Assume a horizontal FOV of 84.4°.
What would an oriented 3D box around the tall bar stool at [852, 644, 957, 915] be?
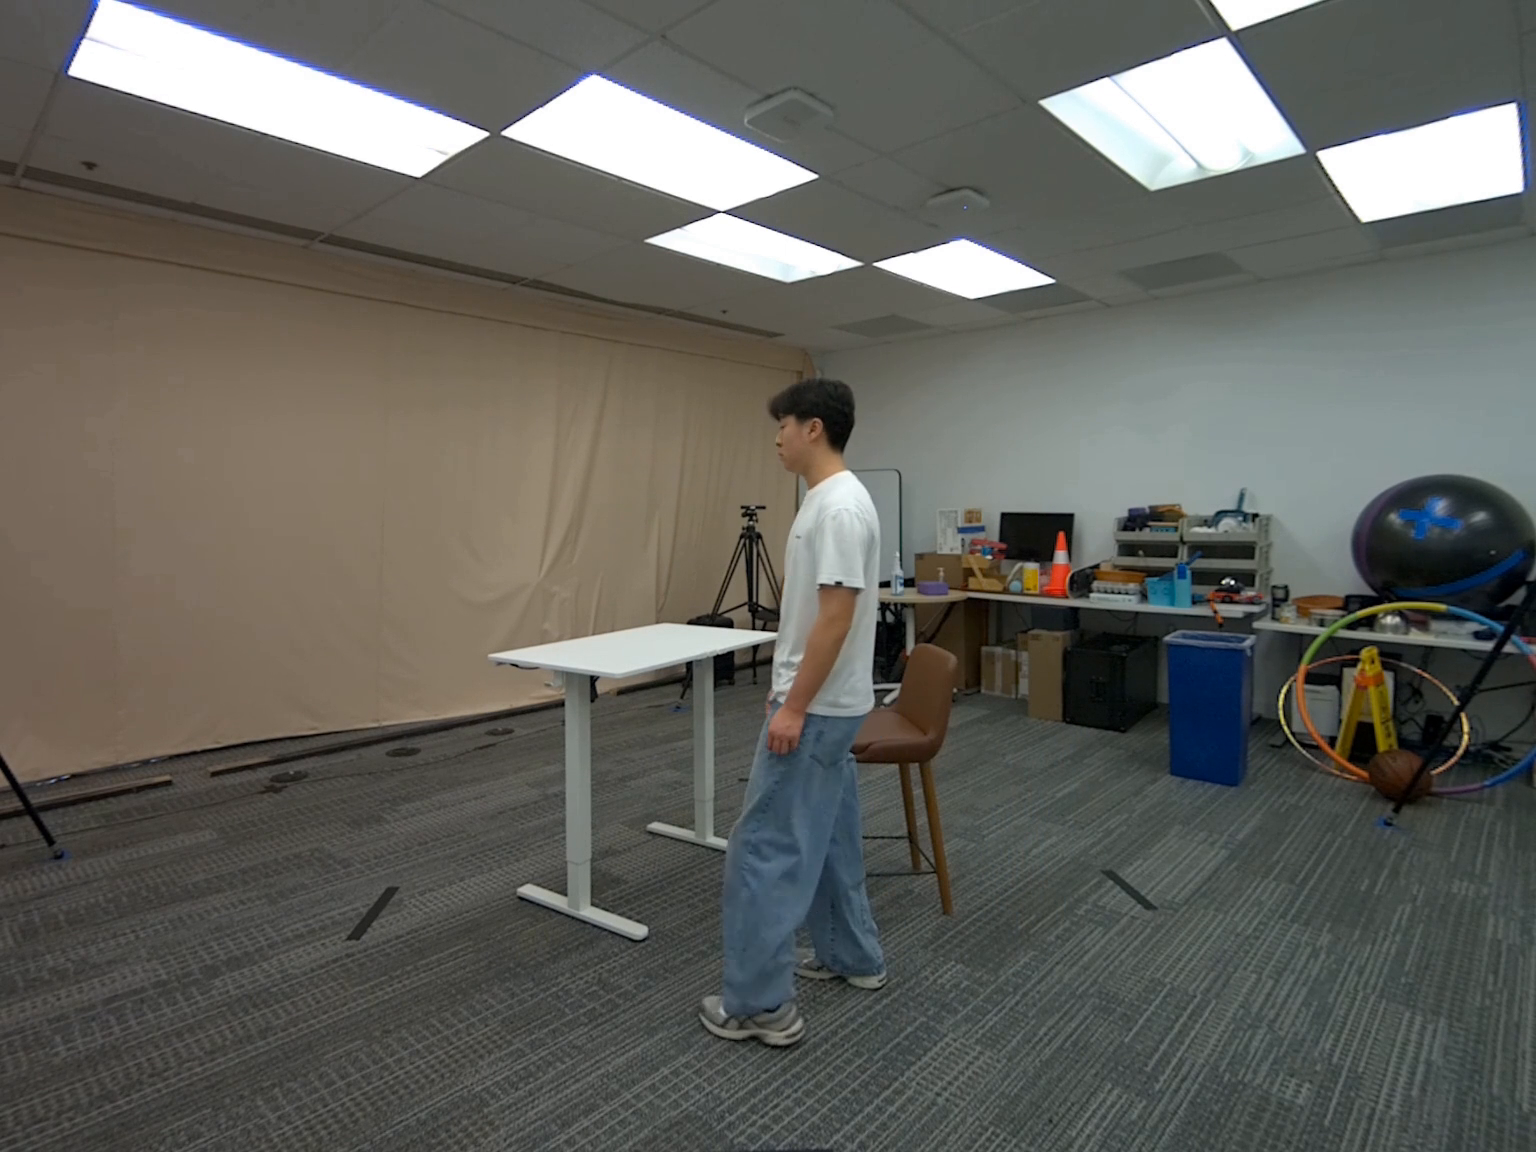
[{"bbox_3d":[0.396,0.706,2.997,0.464,0.888,0.461,1,3,-7],"label":"tall bar stool"}]
